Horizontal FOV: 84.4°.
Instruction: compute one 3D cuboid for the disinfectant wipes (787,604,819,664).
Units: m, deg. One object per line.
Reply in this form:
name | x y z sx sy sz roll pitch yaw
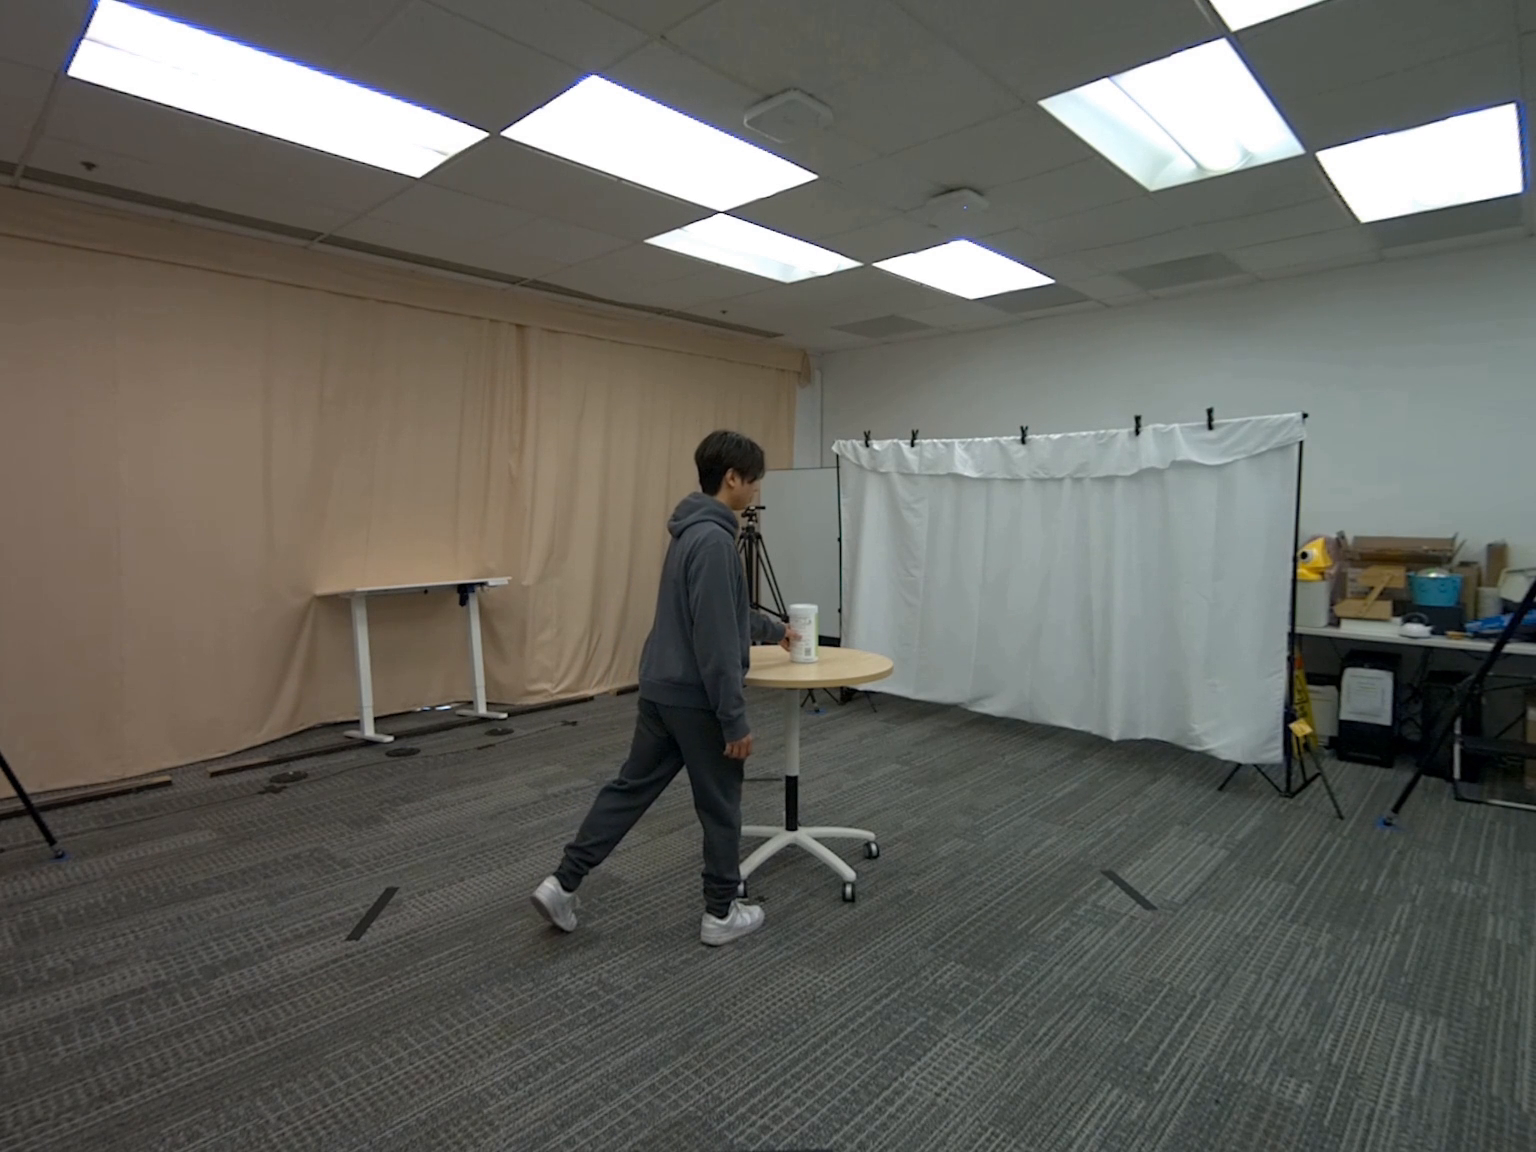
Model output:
disinfectant wipes | 0.139 0.220 3.221 0.118 0.217 0.118 0 2 -2
